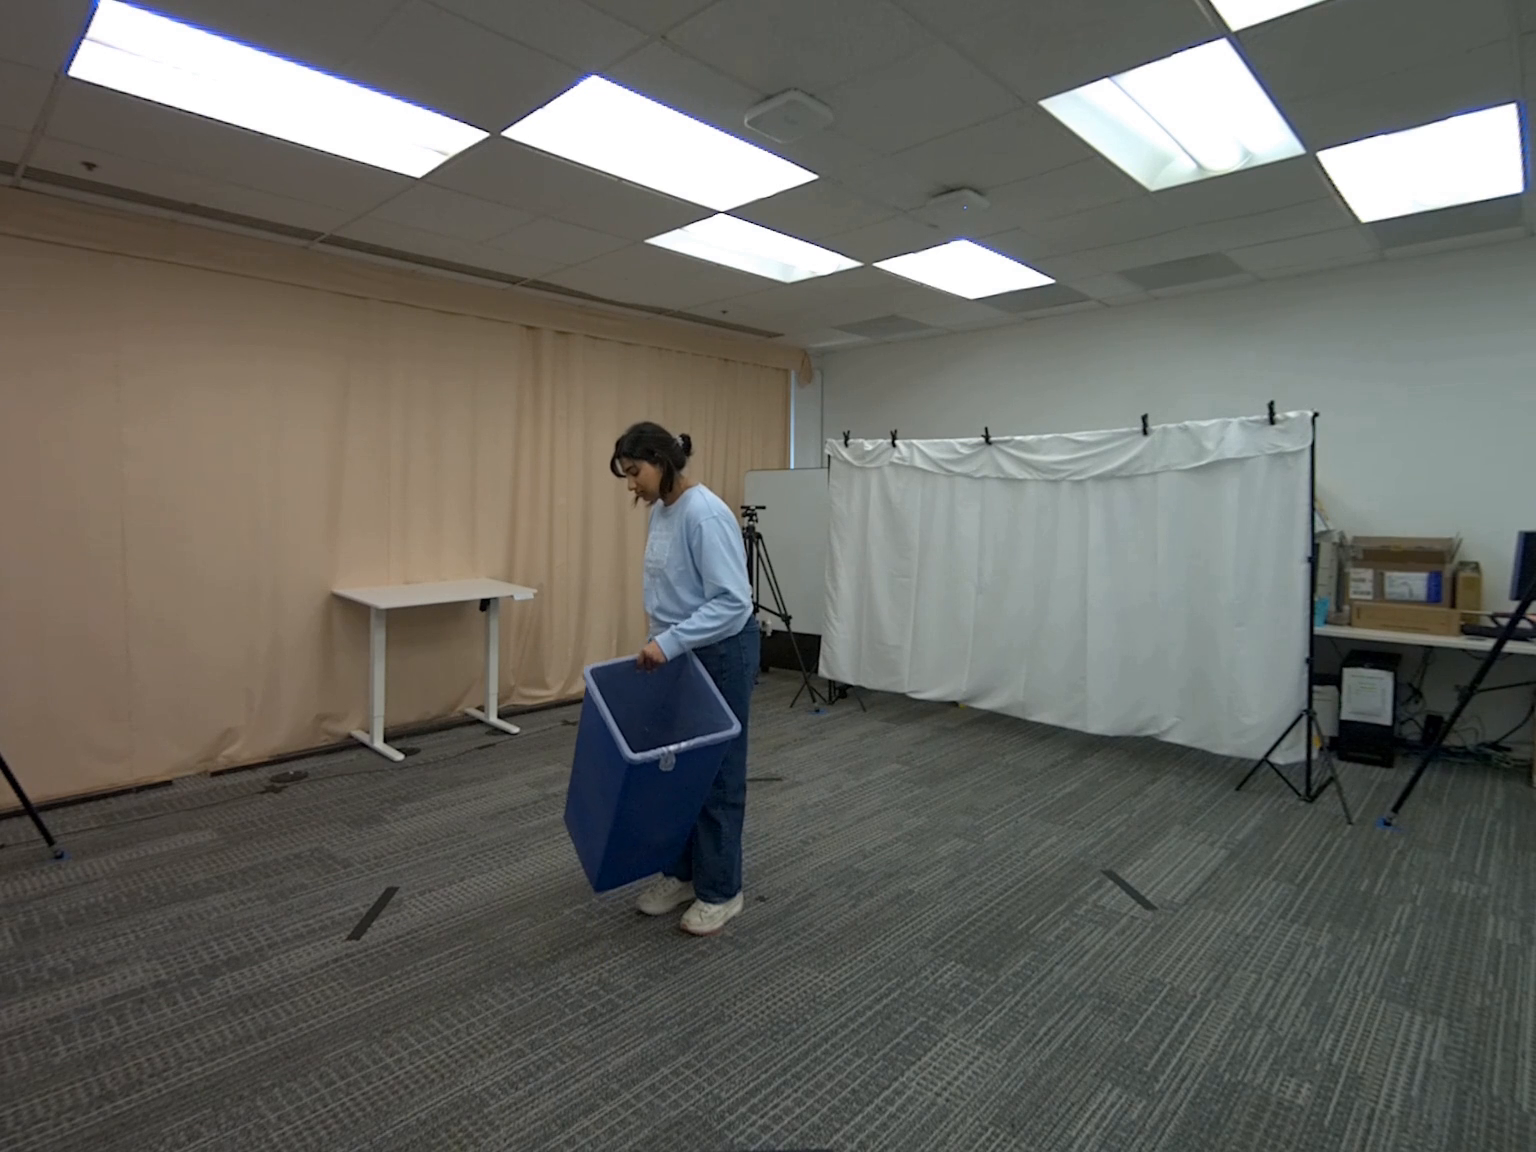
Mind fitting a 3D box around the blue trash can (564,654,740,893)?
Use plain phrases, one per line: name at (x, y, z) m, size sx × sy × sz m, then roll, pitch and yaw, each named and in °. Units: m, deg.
blue trash can at (-0.411, 0.617, 2.637) m, size 0.368 × 0.709 × 0.387 m, roll -6°, pitch 42°, yaw -33°
